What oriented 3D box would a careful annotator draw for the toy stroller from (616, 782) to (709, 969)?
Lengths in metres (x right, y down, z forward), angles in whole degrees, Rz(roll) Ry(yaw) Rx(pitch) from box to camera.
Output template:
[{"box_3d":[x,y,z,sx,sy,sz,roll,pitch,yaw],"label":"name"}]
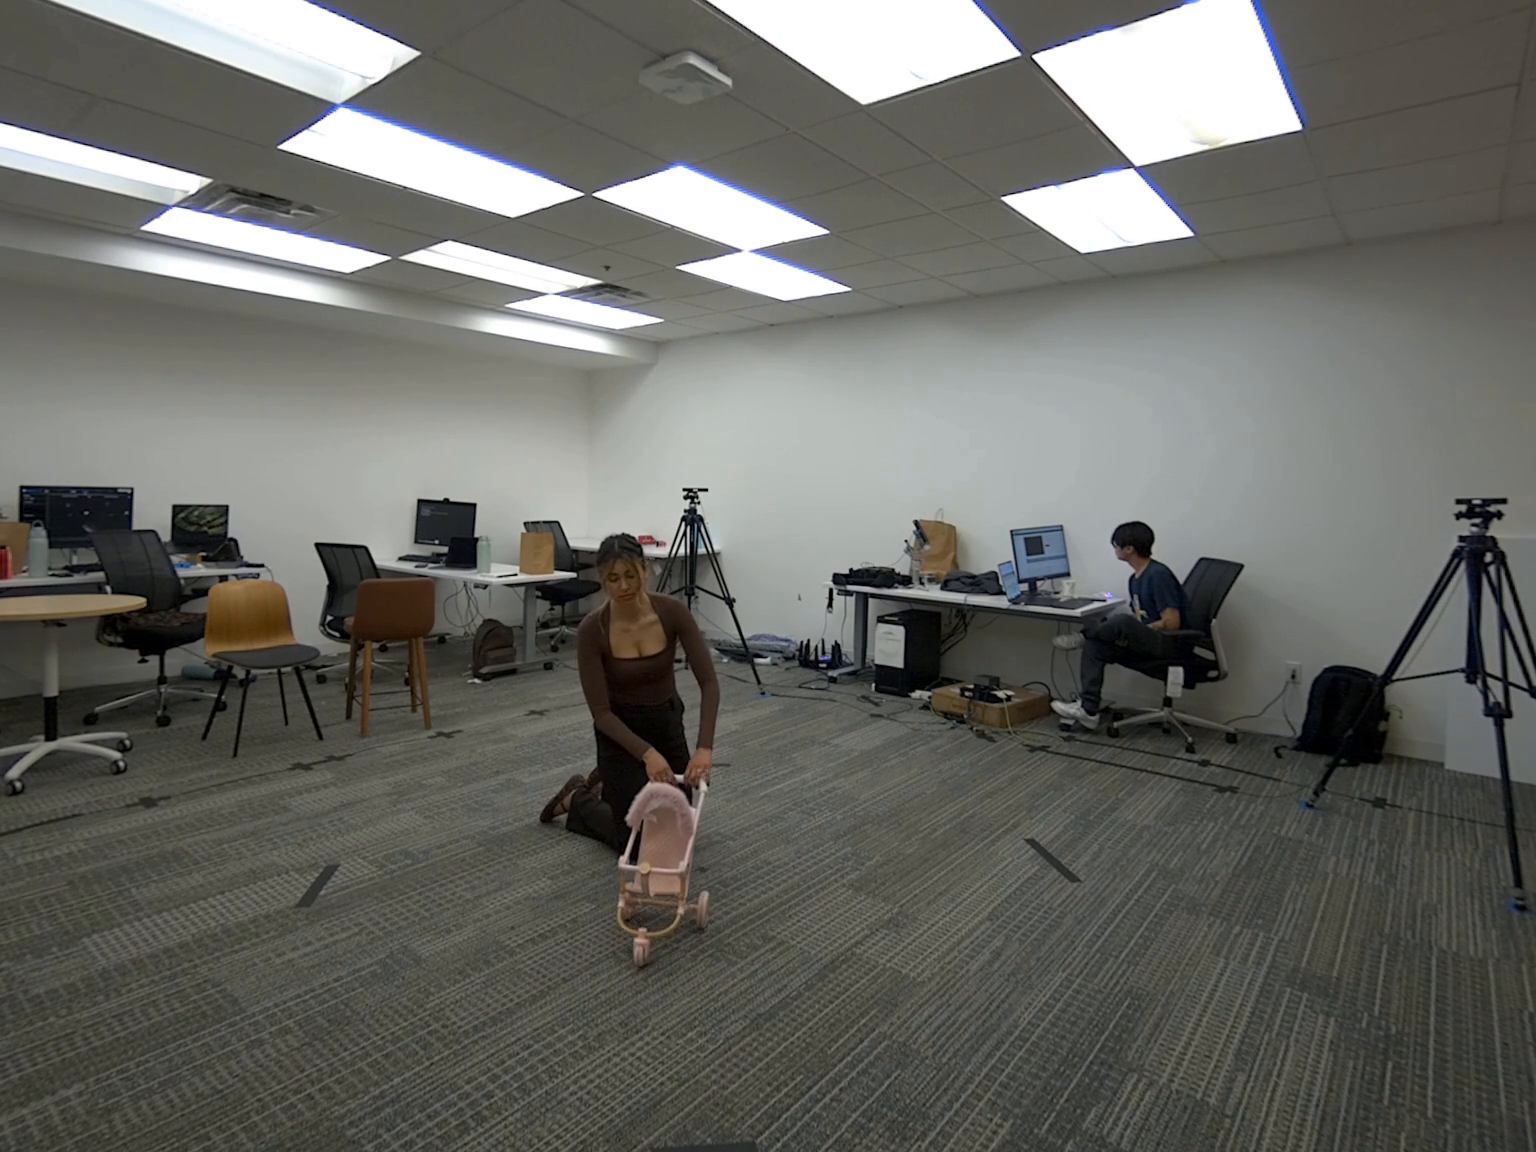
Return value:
[{"box_3d":[-0.345,0.886,2.656,0.286,0.542,0.331,0,-15,15],"label":"toy stroller"}]
